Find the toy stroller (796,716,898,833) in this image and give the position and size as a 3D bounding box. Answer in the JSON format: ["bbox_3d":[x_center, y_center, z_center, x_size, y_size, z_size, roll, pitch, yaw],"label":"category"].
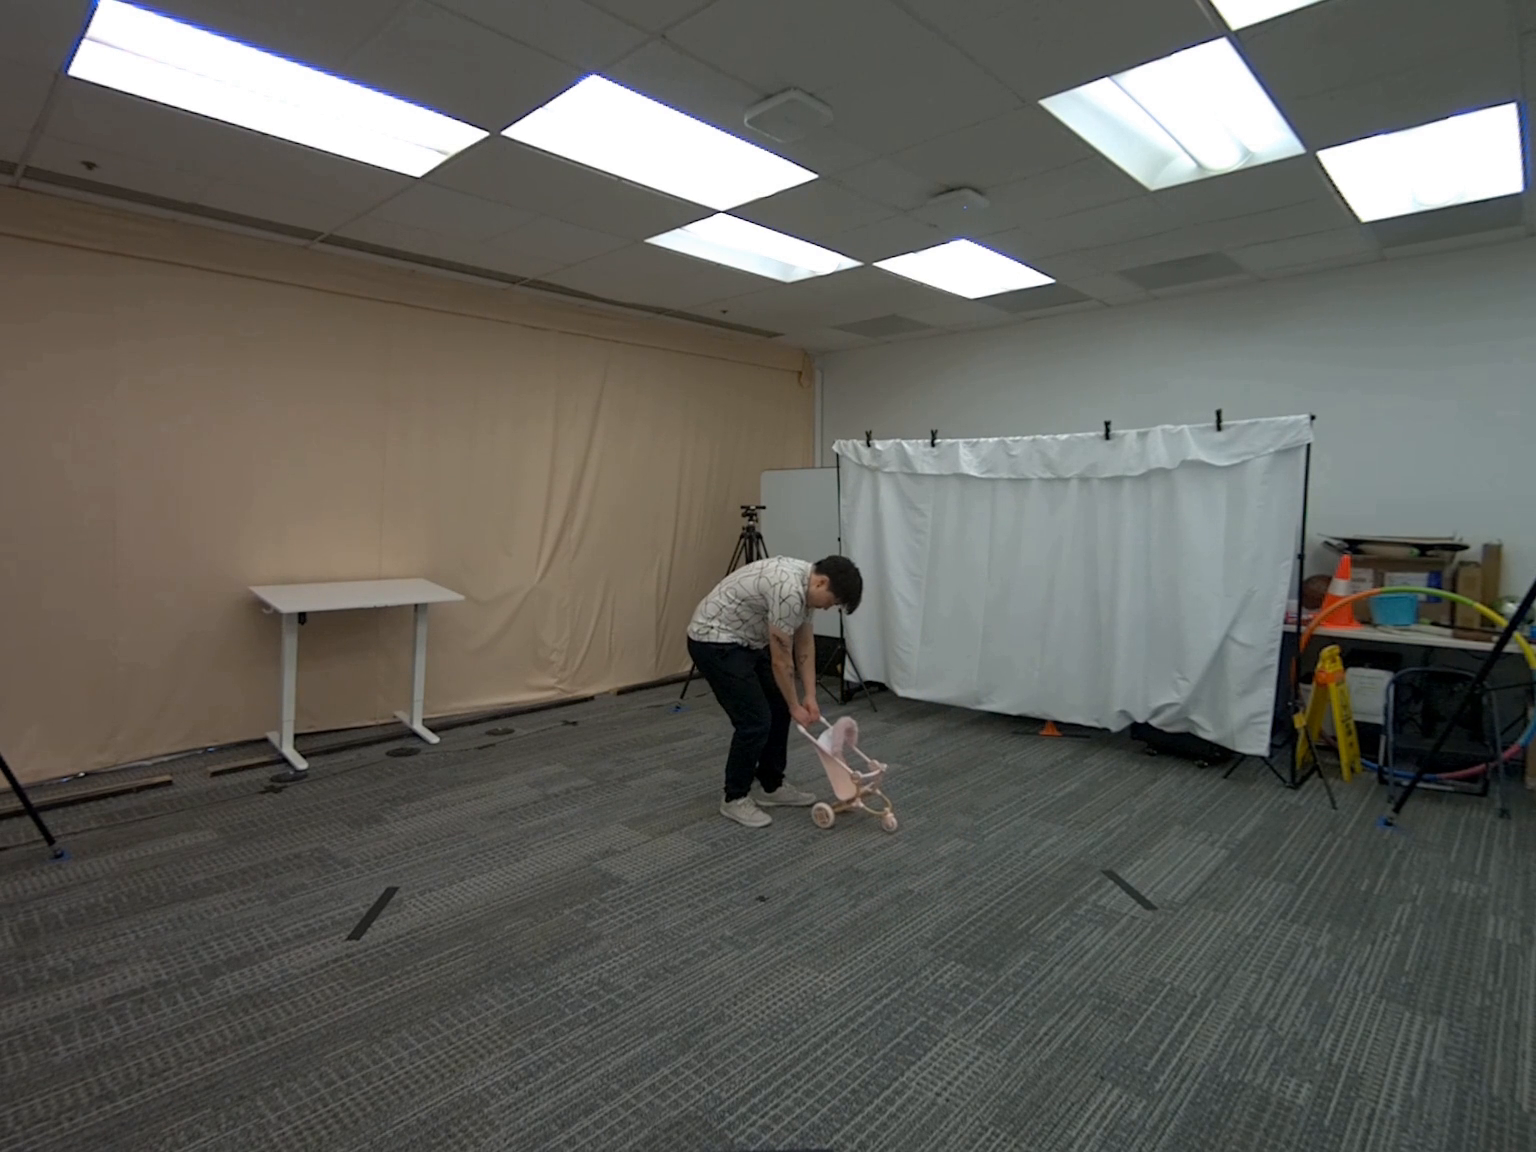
[{"bbox_3d":[0.359,0.859,3.690,0.350,0.538,0.273,-17,-8,37],"label":"toy stroller"}]
